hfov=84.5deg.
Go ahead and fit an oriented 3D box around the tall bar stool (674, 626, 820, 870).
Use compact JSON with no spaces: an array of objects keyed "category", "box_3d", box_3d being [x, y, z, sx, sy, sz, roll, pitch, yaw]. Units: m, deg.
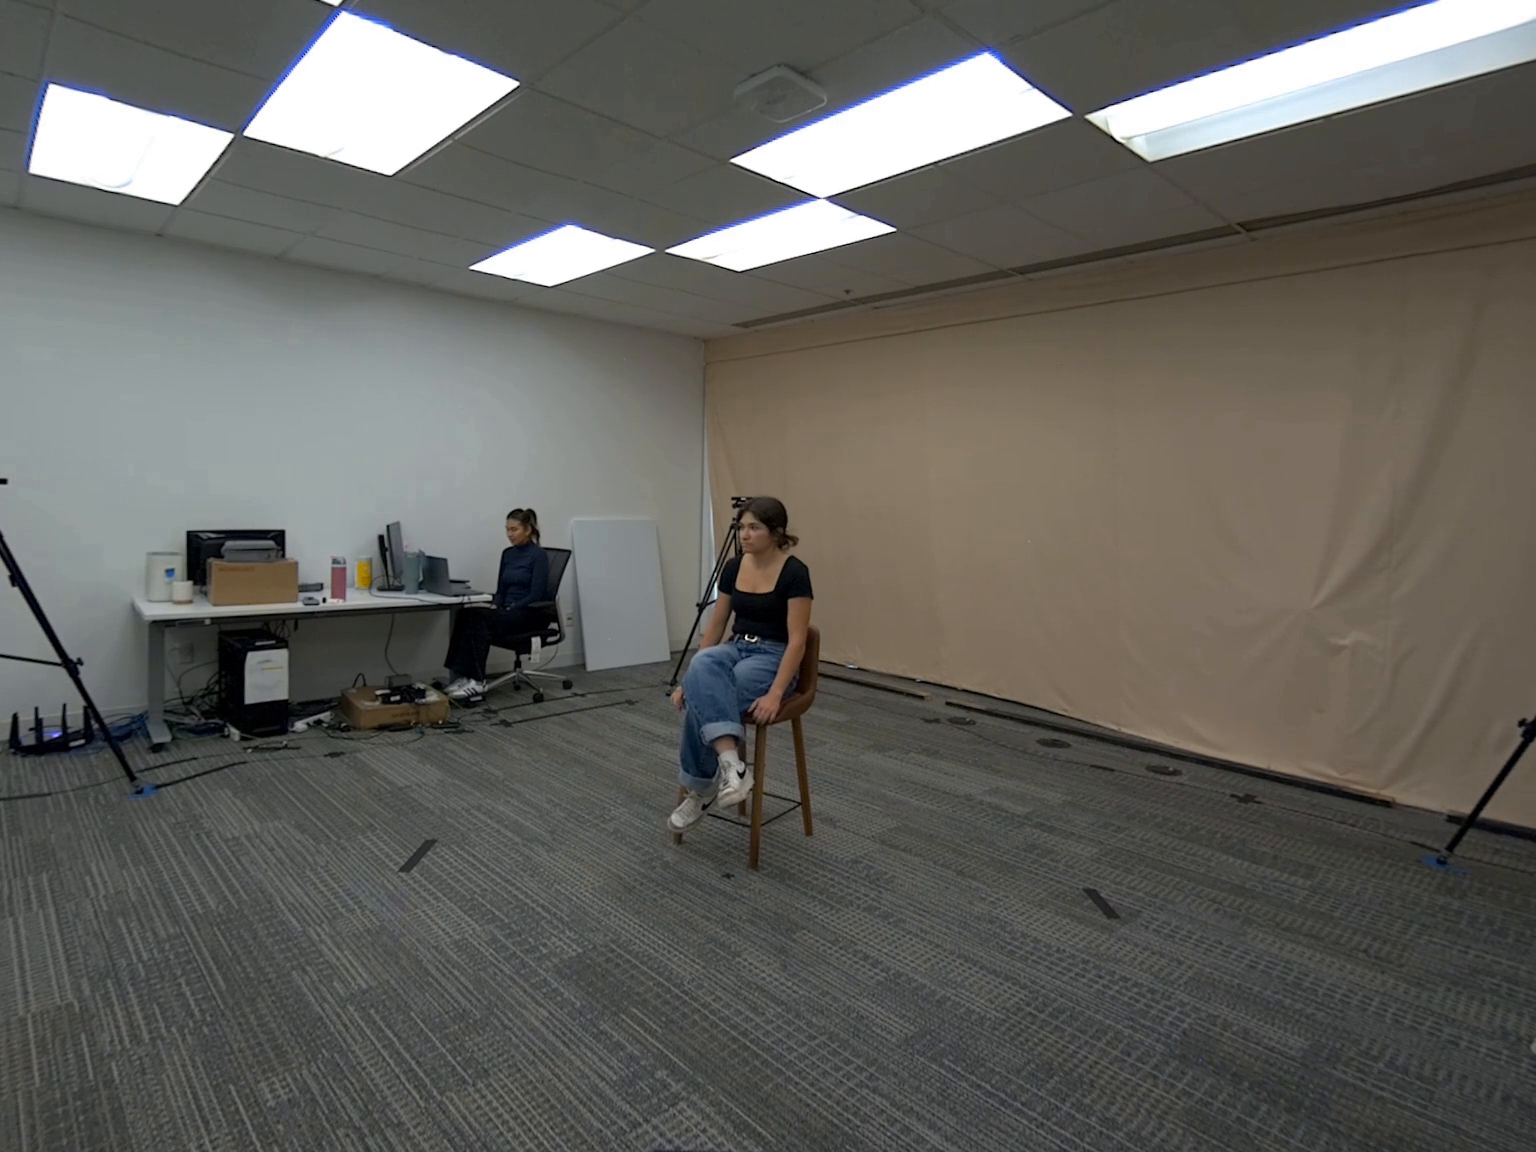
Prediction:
[{"category":"tall bar stool","box_3d":[-0.077,0.648,3.433,0.468,0.889,0.457,5,2,36]}]
